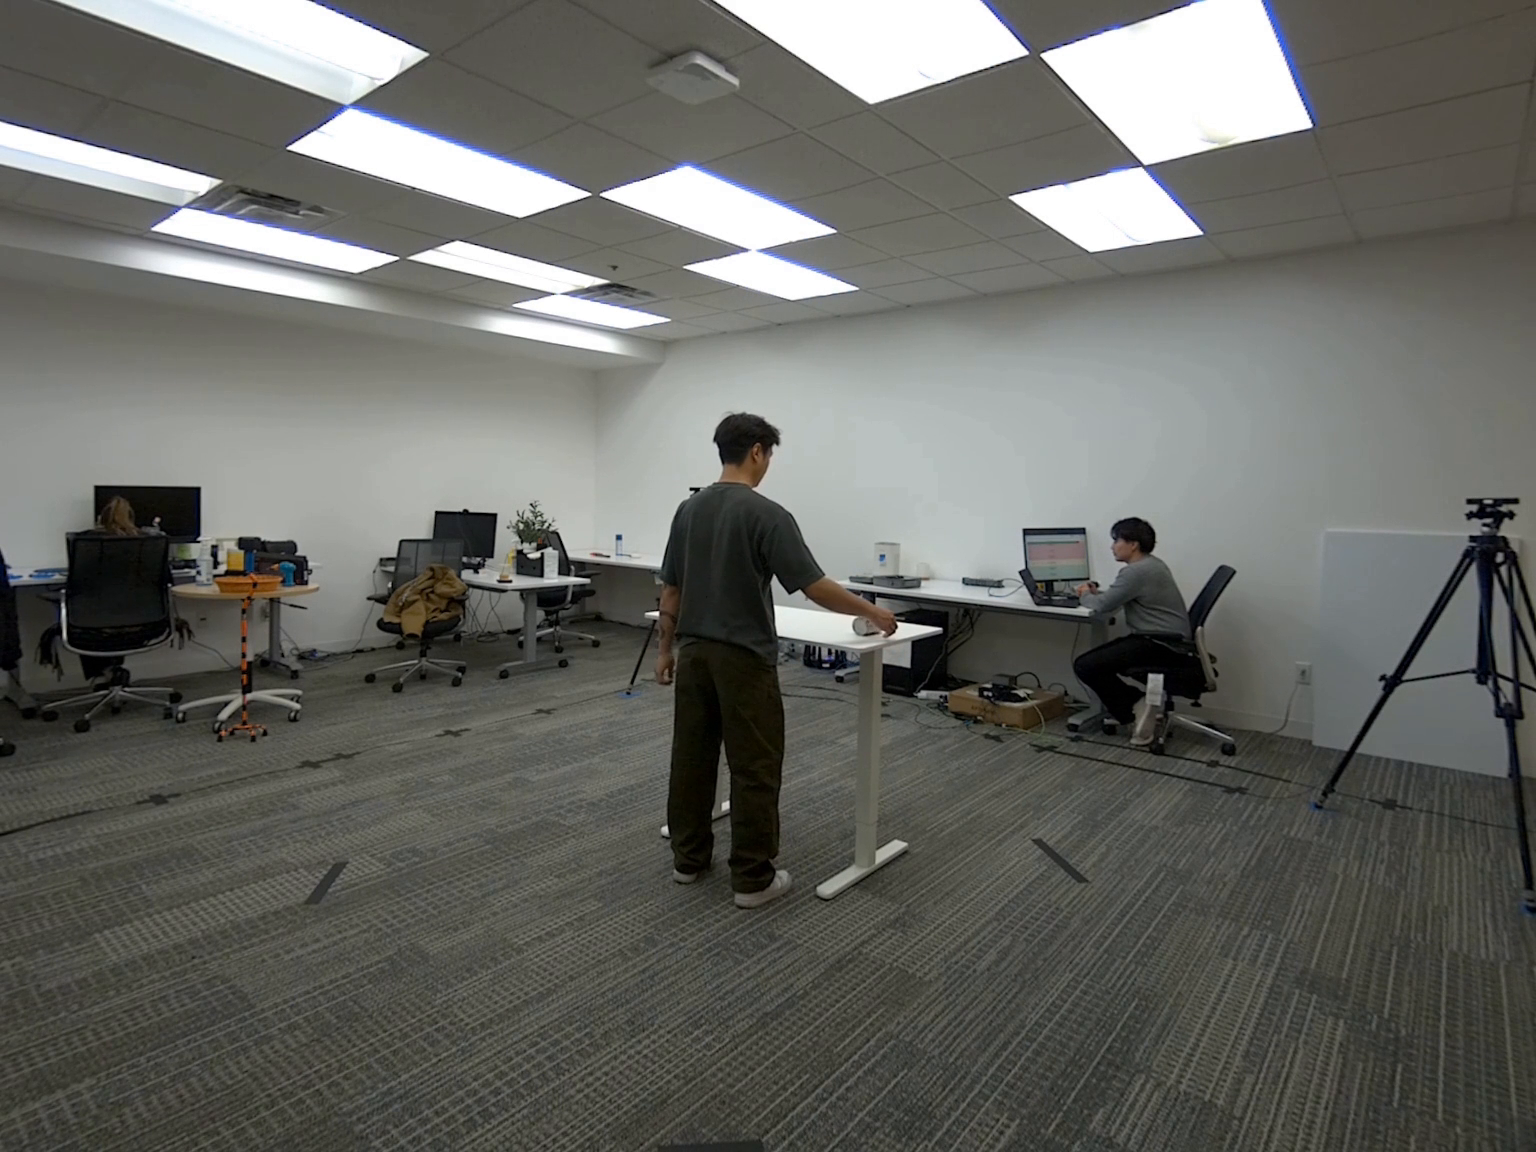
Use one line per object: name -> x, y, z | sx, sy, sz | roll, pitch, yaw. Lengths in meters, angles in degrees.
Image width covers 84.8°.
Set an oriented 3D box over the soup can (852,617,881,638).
soup can -> 0.348, 0.175, 3.043 | 0.069, 0.067, 0.118 | 5, 9, 42
